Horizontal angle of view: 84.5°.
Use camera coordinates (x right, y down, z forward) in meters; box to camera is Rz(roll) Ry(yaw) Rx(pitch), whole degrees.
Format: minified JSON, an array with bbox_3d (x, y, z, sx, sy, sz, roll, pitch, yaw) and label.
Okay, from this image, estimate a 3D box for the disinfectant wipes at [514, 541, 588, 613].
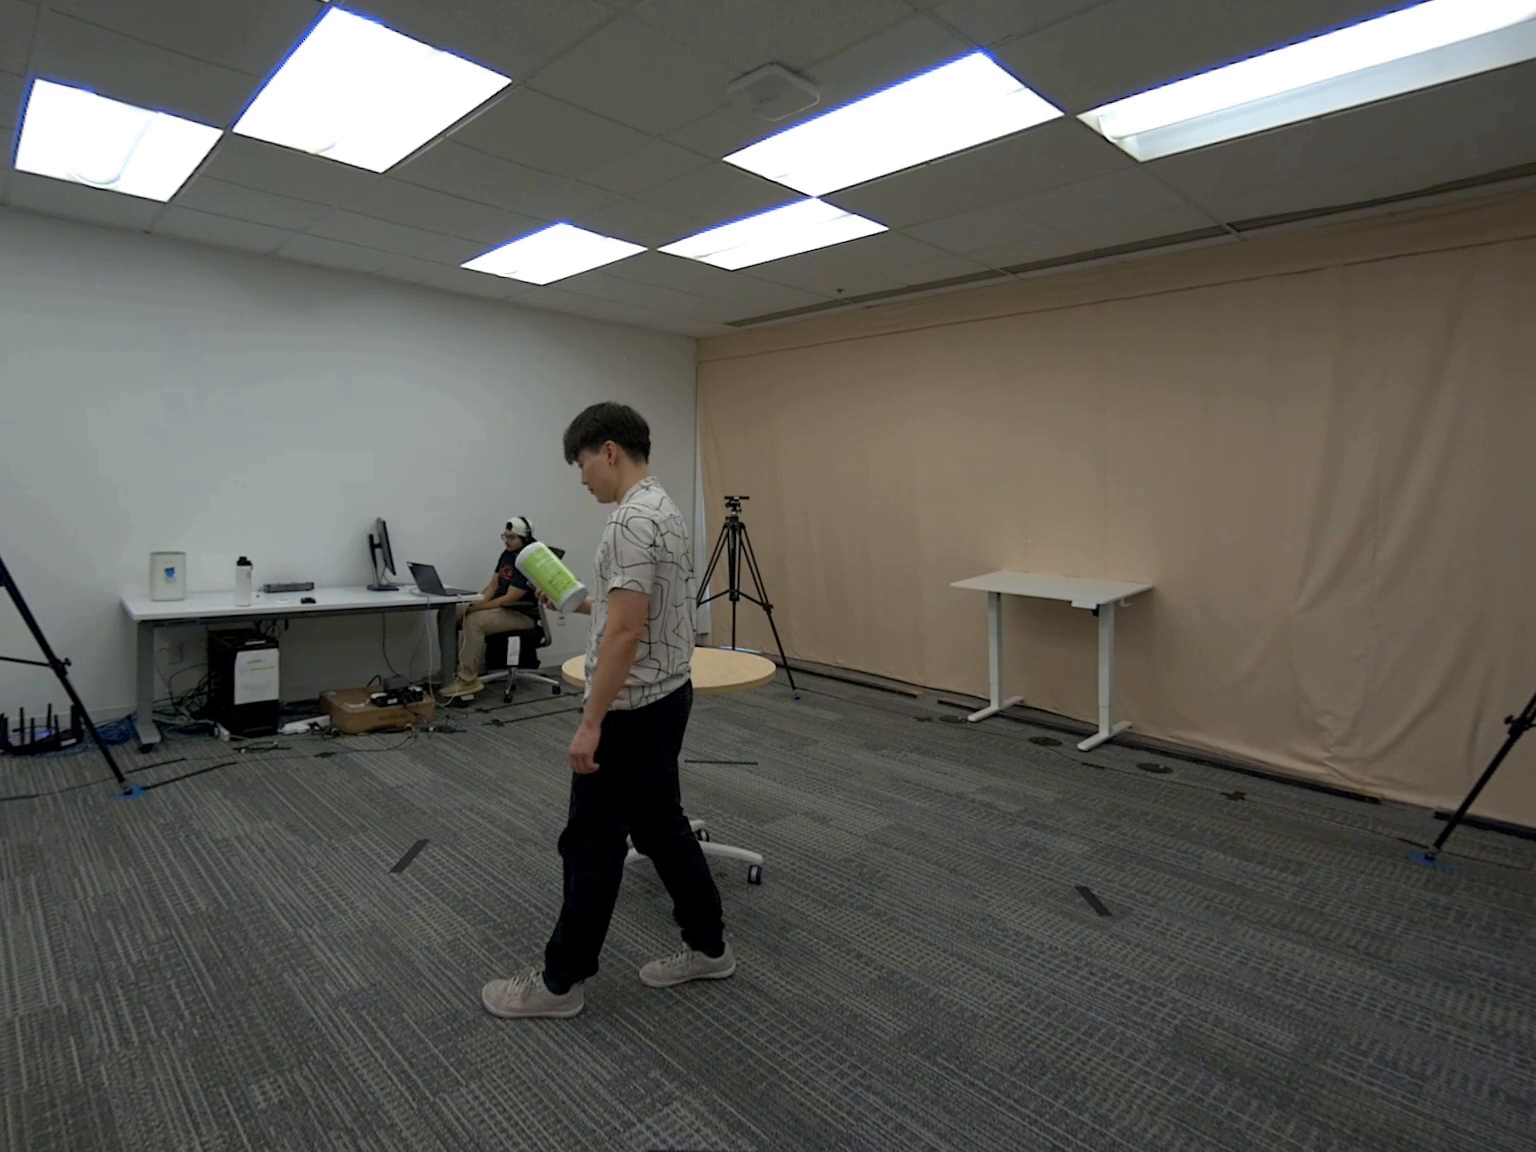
[{"bbox_3d":[-0.651,0.002,2.504,0.221,0.117,0.116,39,15,14],"label":"disinfectant wipes"}]
